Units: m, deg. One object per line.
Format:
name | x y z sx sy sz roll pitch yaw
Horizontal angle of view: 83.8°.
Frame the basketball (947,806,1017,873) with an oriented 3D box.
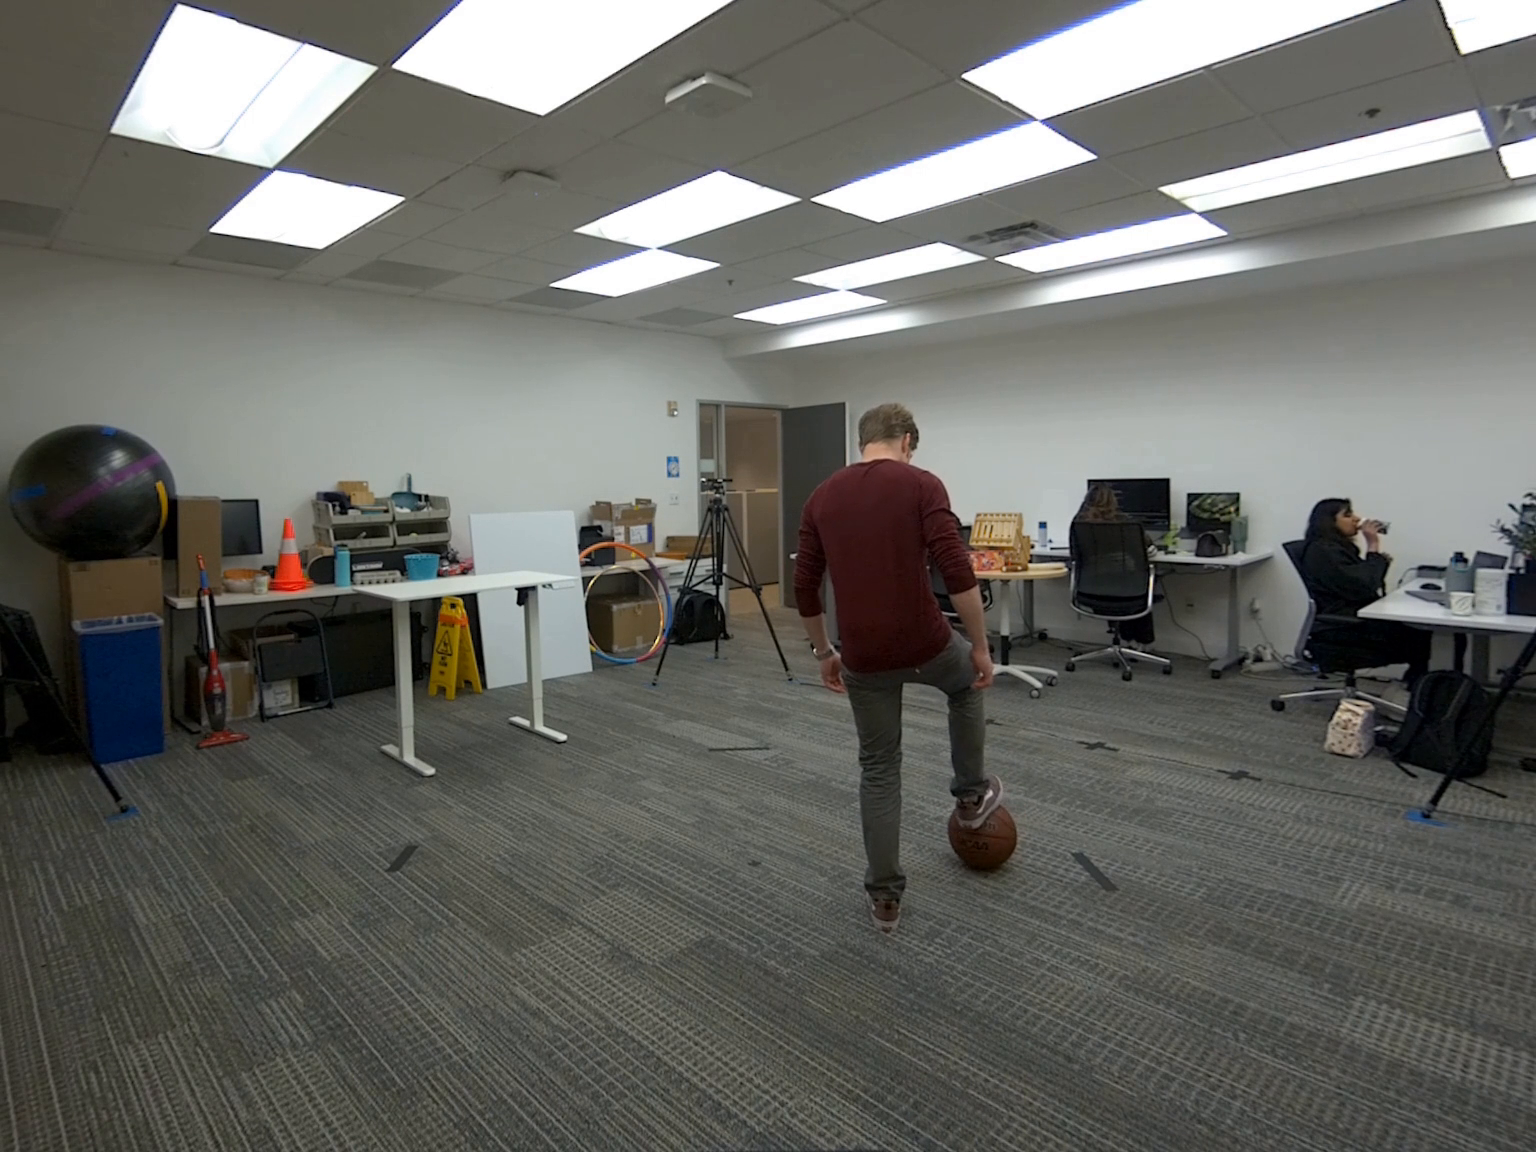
basketball | 0.772 0.922 3.055 0.236 0.235 0.237 -1 5 -2
